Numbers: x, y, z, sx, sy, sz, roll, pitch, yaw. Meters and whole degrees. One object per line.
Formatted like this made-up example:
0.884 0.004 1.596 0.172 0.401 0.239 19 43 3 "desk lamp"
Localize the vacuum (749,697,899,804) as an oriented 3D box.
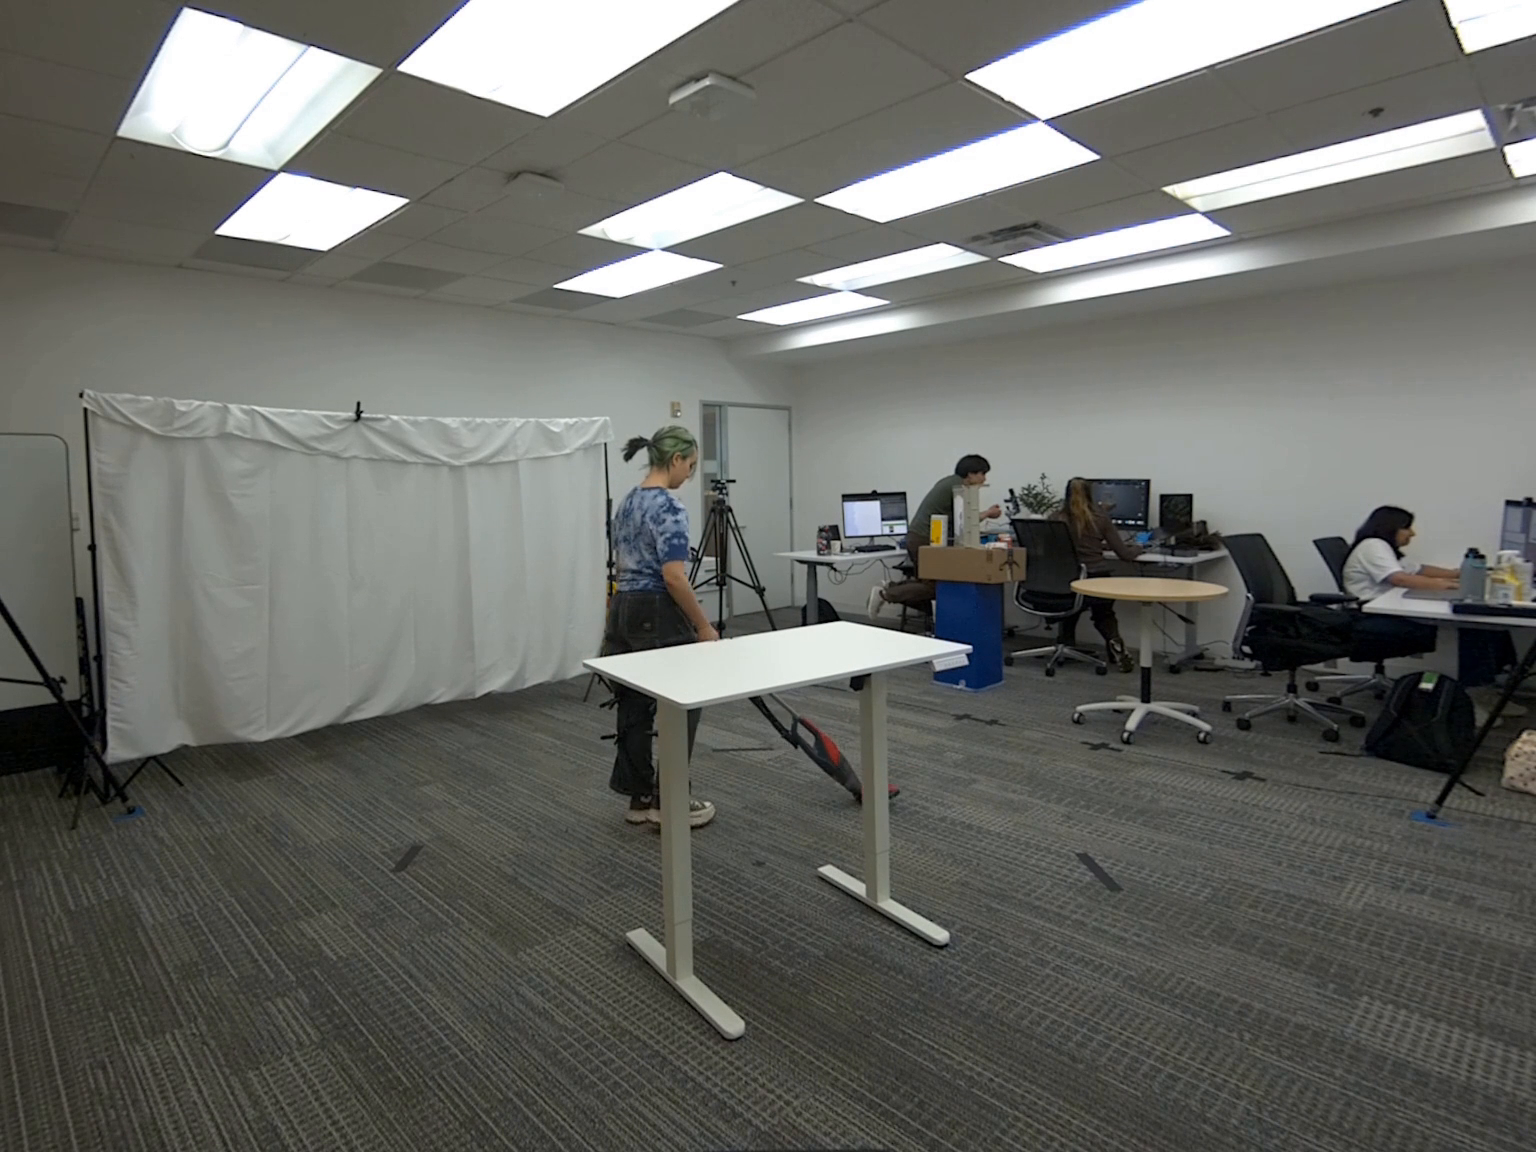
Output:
0.094 0.617 3.552 1.029 0.144 0.257 41 -17 -15 "vacuum"
